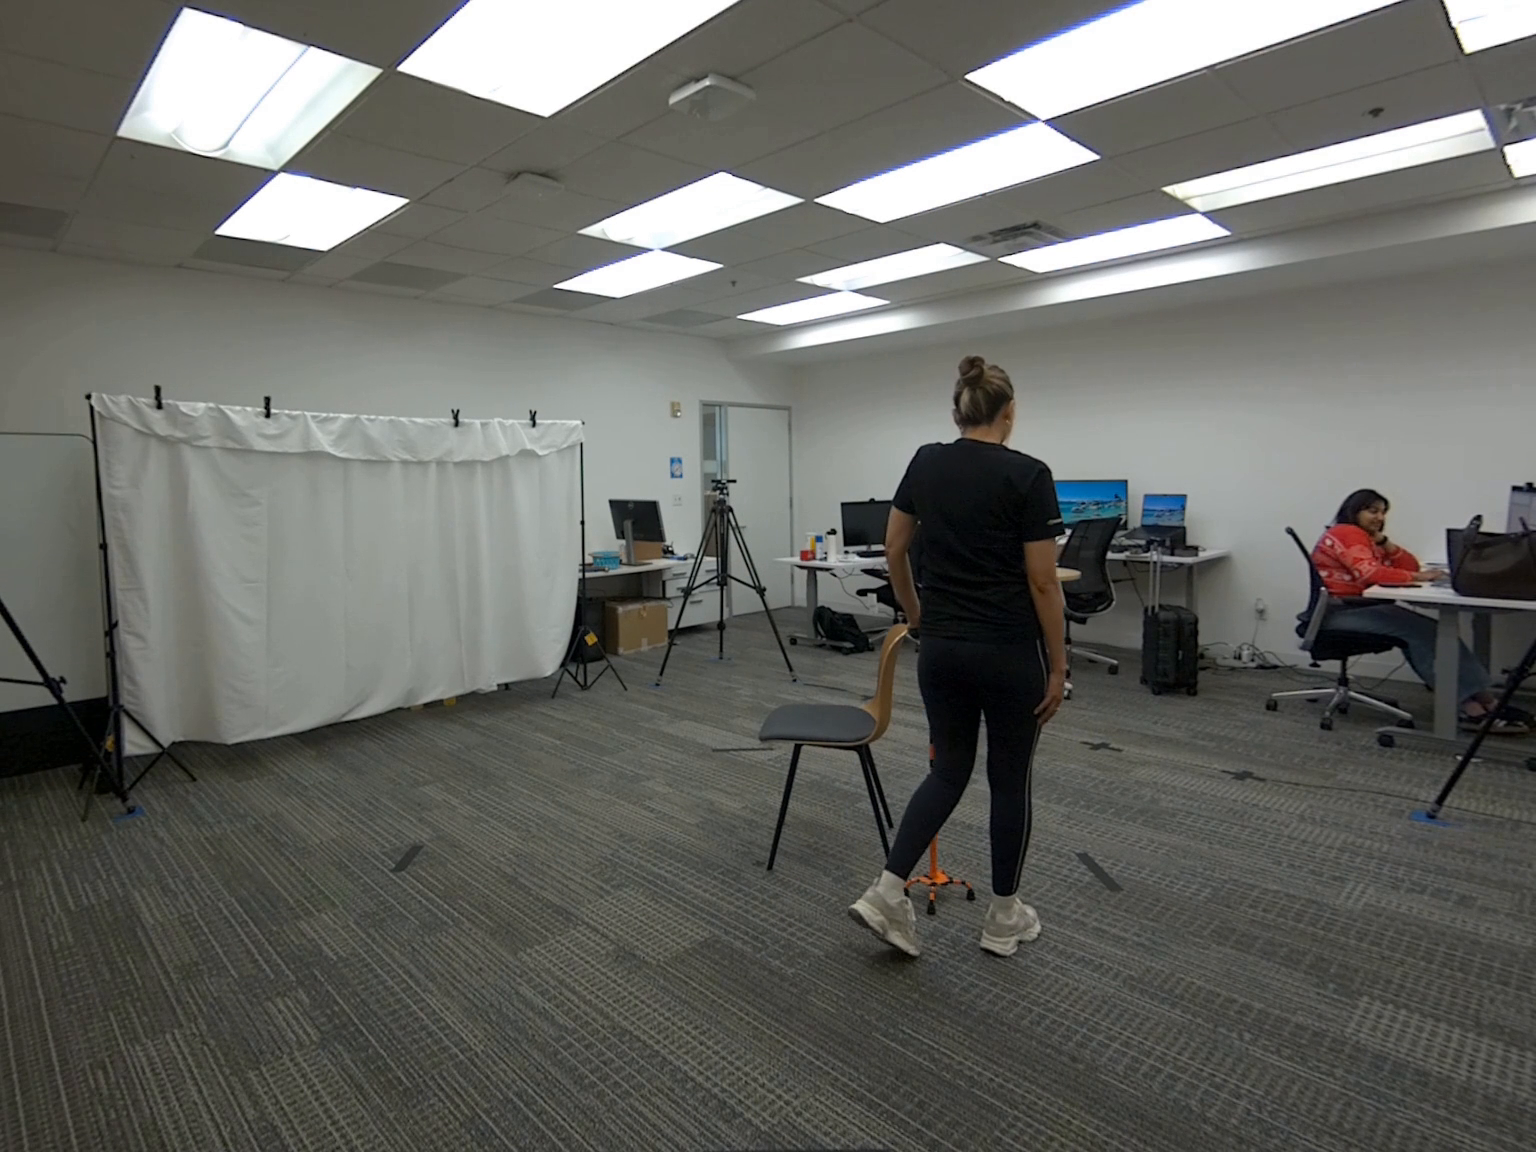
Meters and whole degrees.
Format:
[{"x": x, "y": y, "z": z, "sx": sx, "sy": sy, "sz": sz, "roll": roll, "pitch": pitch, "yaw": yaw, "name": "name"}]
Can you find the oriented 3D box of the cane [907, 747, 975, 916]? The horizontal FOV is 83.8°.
[{"x": 0.562, "y": 0.620, "z": 2.805, "sx": 0.201, "sy": 0.906, "sz": 0.155, "roll": -4, "pitch": 3, "yaw": -32, "name": "cane"}]
